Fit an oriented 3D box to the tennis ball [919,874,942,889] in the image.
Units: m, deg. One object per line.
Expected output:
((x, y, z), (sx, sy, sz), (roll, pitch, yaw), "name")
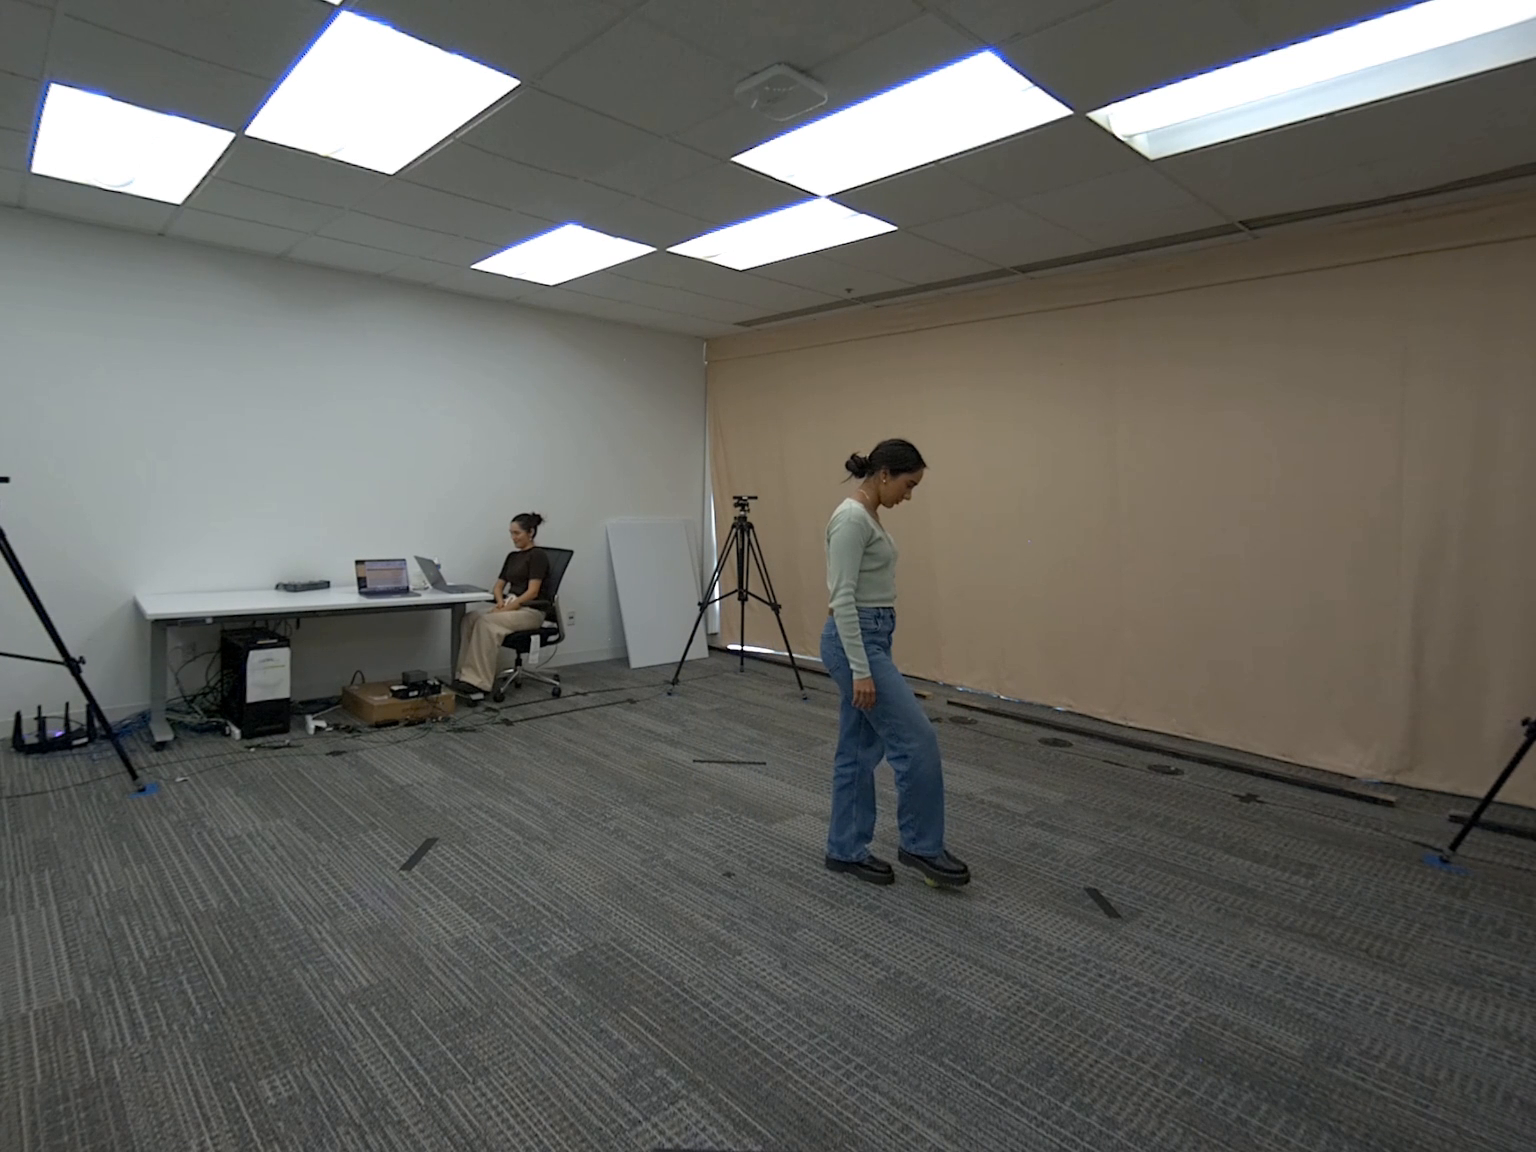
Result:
((0.614, 1.092, 3.051), (0.066, 0.066, 0.067), (1, 4, -1), "tennis ball")
